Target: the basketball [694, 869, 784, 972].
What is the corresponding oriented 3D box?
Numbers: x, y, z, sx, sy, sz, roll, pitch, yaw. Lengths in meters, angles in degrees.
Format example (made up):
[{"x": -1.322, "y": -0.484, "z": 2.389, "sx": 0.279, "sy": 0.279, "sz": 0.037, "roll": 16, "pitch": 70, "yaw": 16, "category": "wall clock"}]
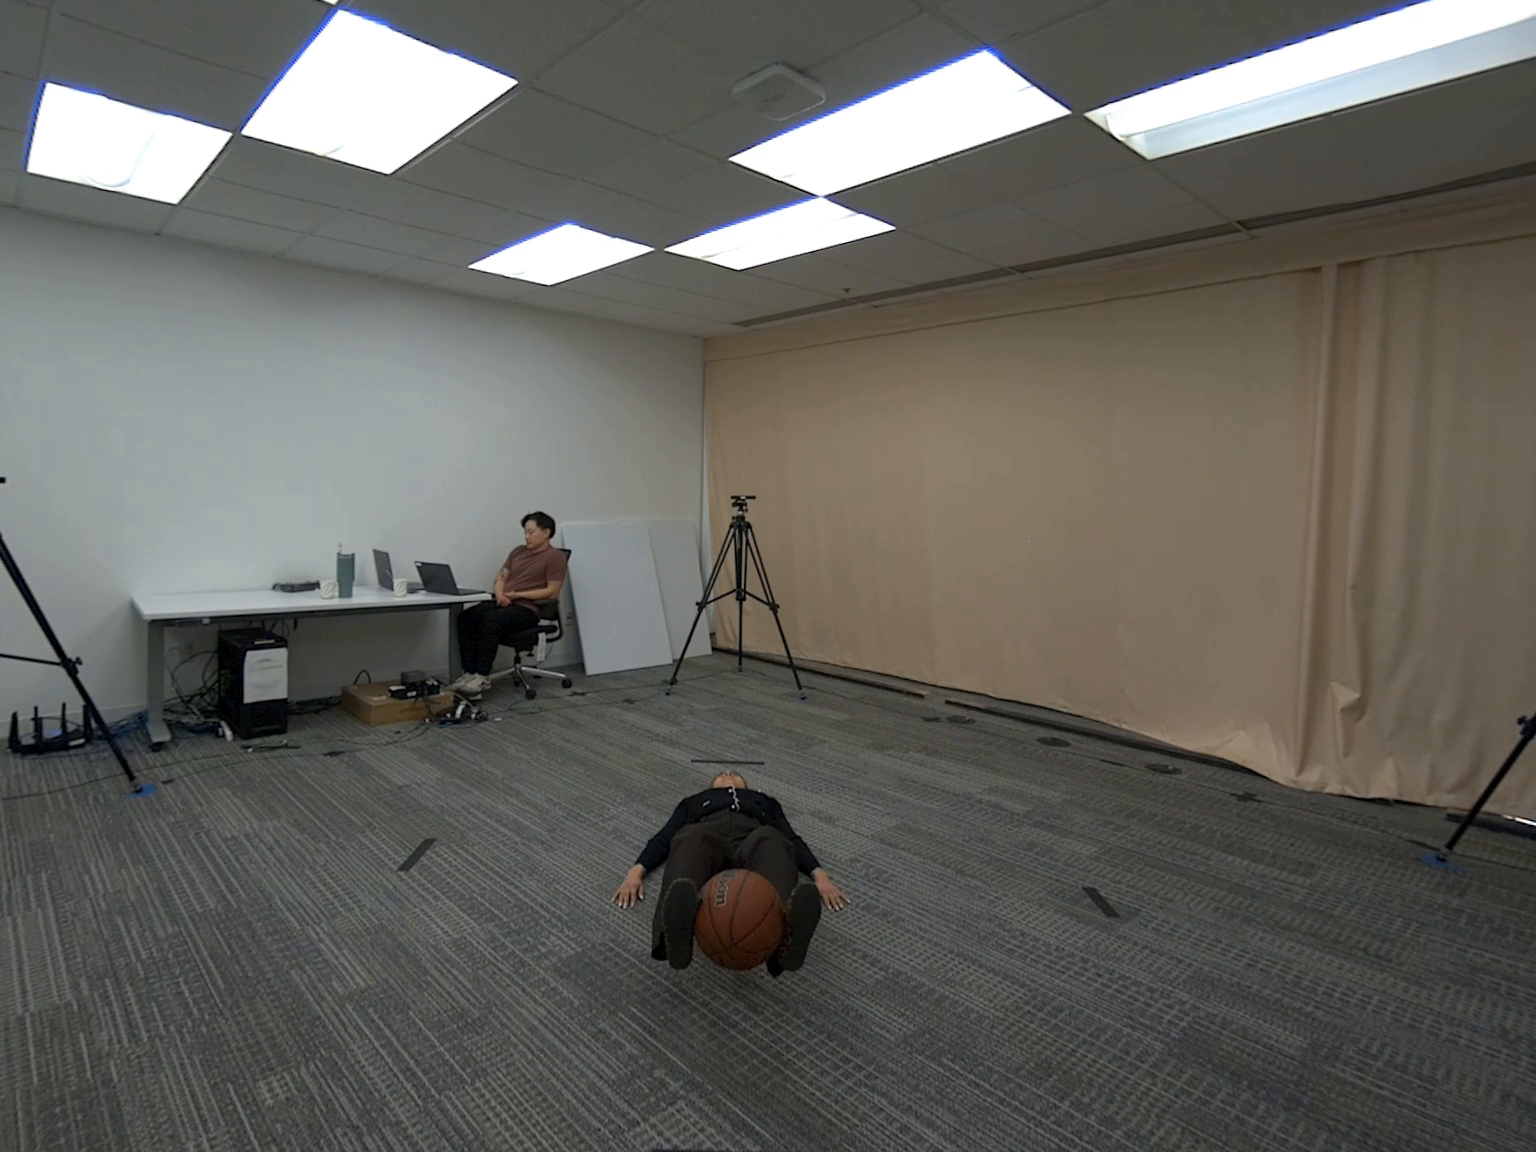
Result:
[{"x": -0.081, "y": 0.875, "z": 2.138, "sx": 0.235, "sy": 0.235, "sz": 0.237, "roll": 4, "pitch": 5, "yaw": -2, "category": "basketball"}]
